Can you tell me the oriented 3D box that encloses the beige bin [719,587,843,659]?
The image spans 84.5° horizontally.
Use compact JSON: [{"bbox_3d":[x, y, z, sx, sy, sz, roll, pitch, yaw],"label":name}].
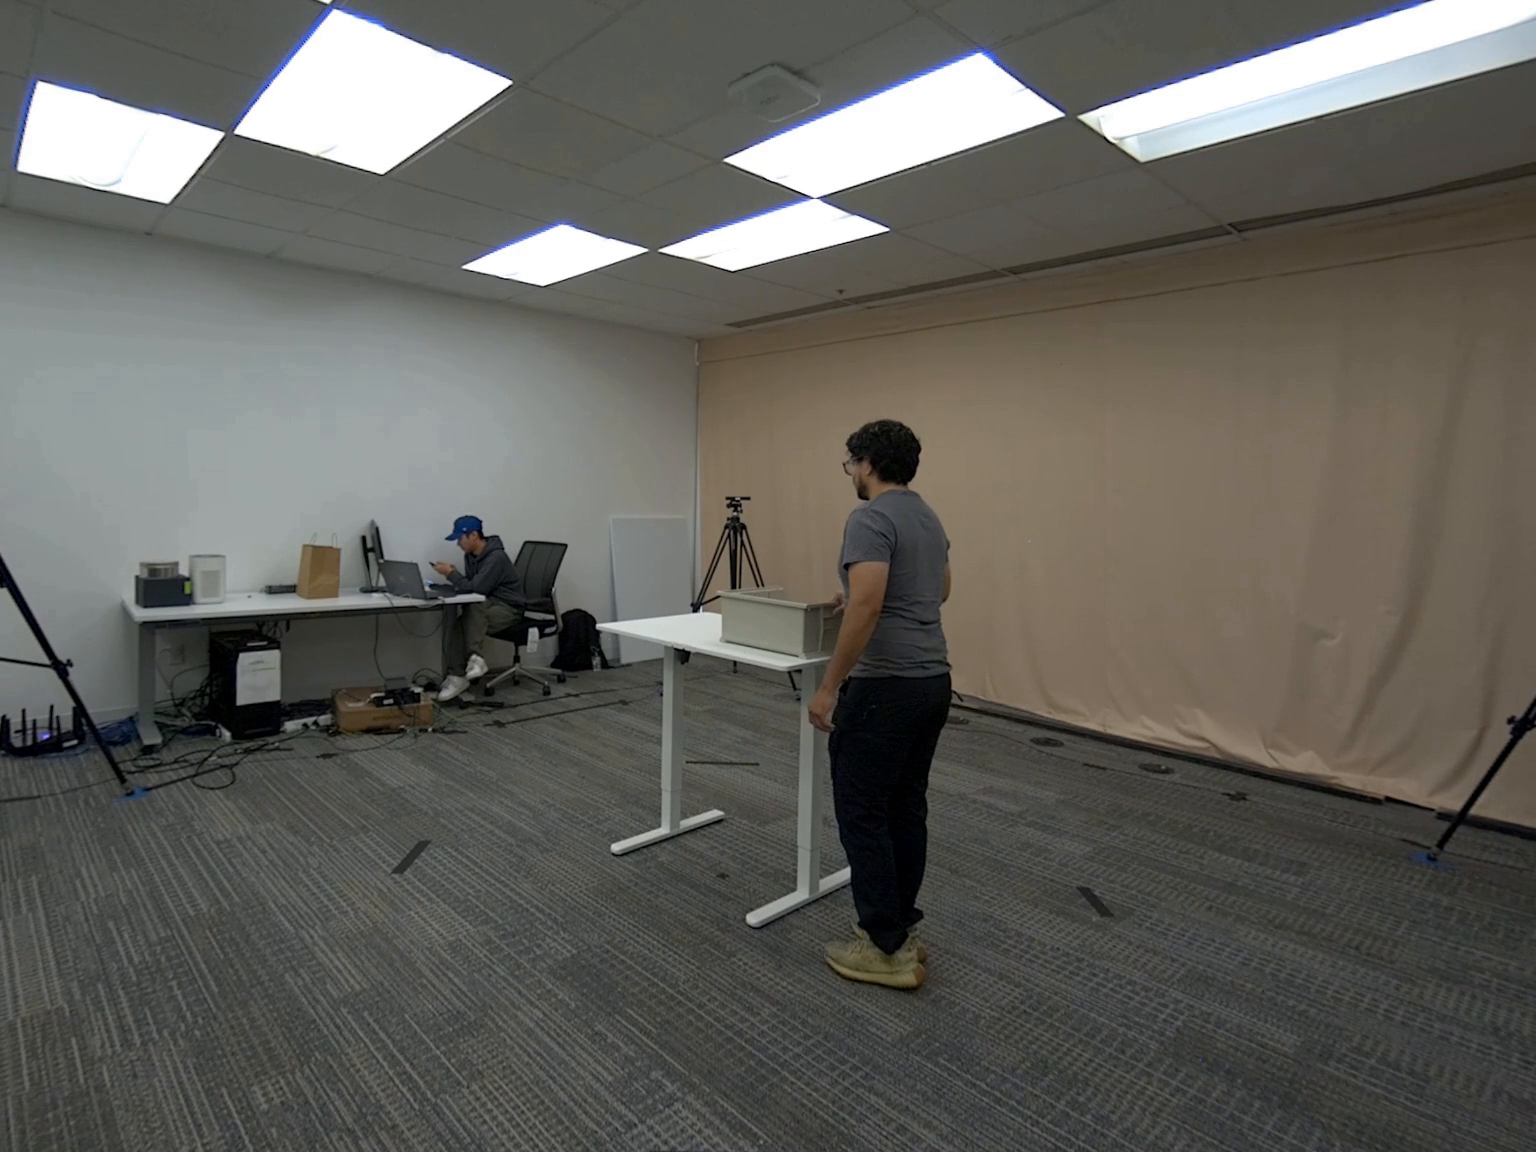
[{"bbox_3d":[0.093,0.154,2.962,0.369,0.188,0.433,-6,9,-44],"label":"beige bin"}]
